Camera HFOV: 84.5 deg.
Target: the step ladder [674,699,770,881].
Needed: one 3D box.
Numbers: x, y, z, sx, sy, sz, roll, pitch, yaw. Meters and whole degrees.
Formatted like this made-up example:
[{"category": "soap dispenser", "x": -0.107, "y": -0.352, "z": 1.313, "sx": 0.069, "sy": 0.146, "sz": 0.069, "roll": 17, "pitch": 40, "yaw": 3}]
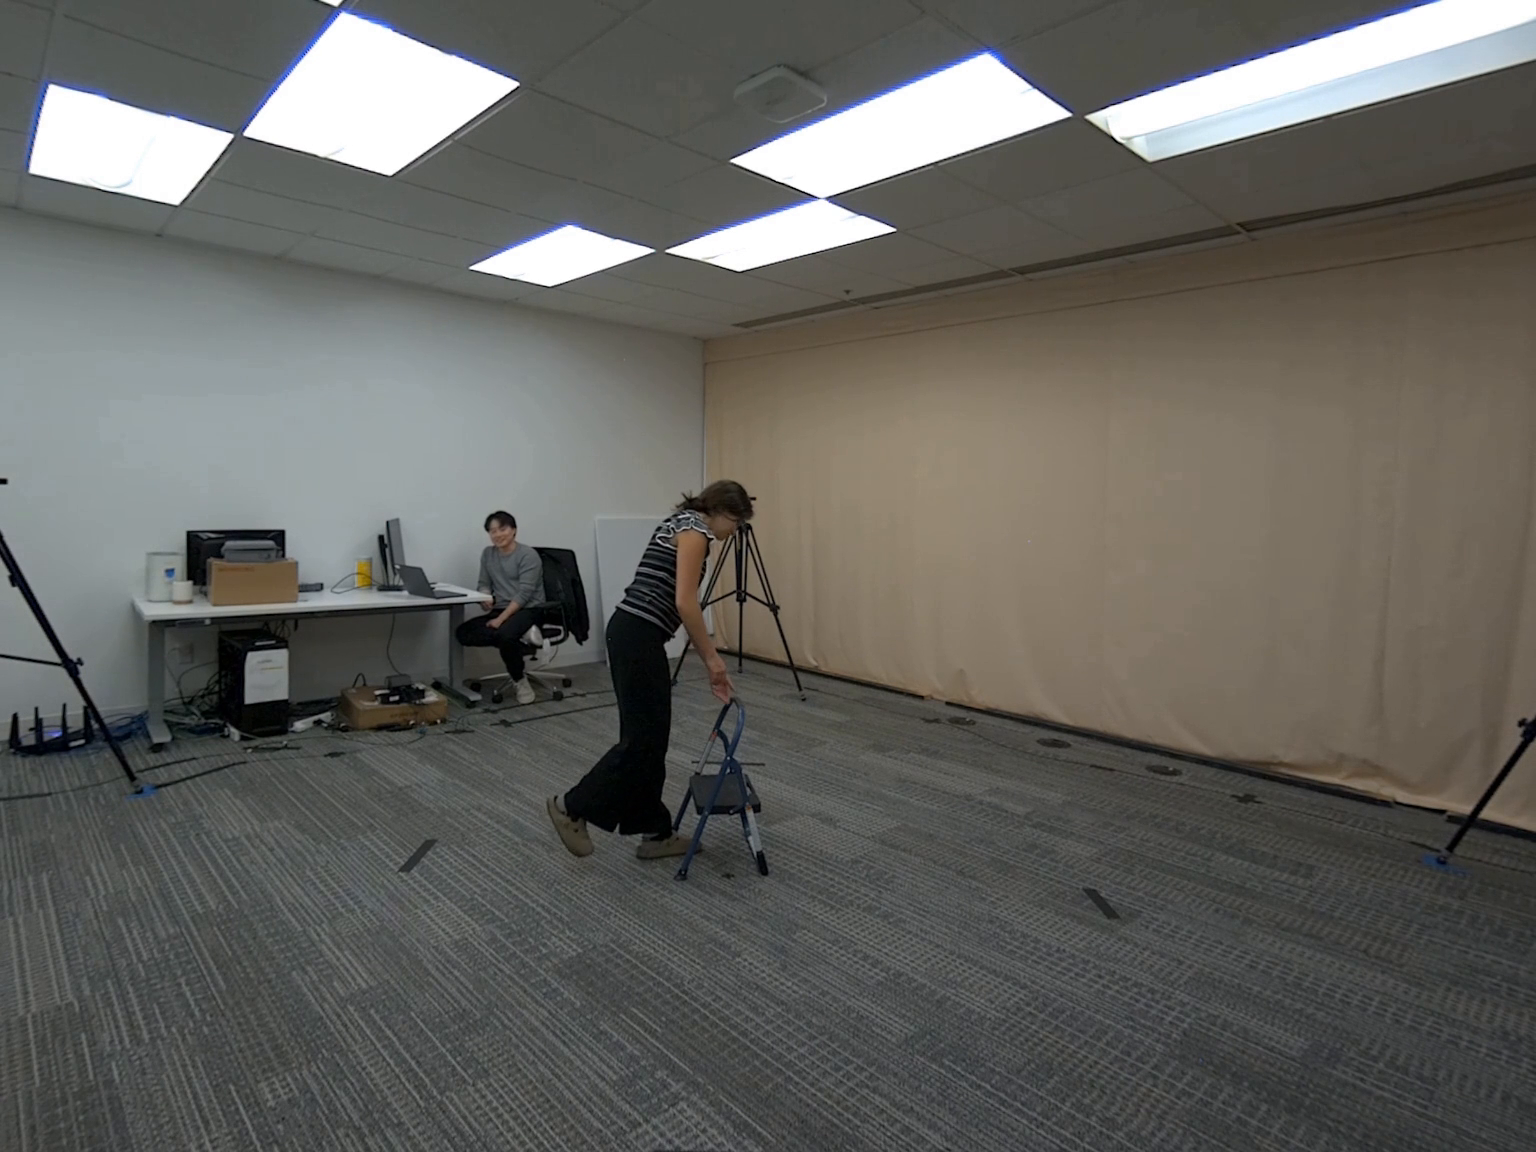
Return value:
[{"category": "step ladder", "x": -0.205, "y": 0.790, "z": 3.276, "sx": 0.346, "sy": 0.604, "sz": 0.435, "roll": 0, "pitch": 4, "yaw": -10}]
